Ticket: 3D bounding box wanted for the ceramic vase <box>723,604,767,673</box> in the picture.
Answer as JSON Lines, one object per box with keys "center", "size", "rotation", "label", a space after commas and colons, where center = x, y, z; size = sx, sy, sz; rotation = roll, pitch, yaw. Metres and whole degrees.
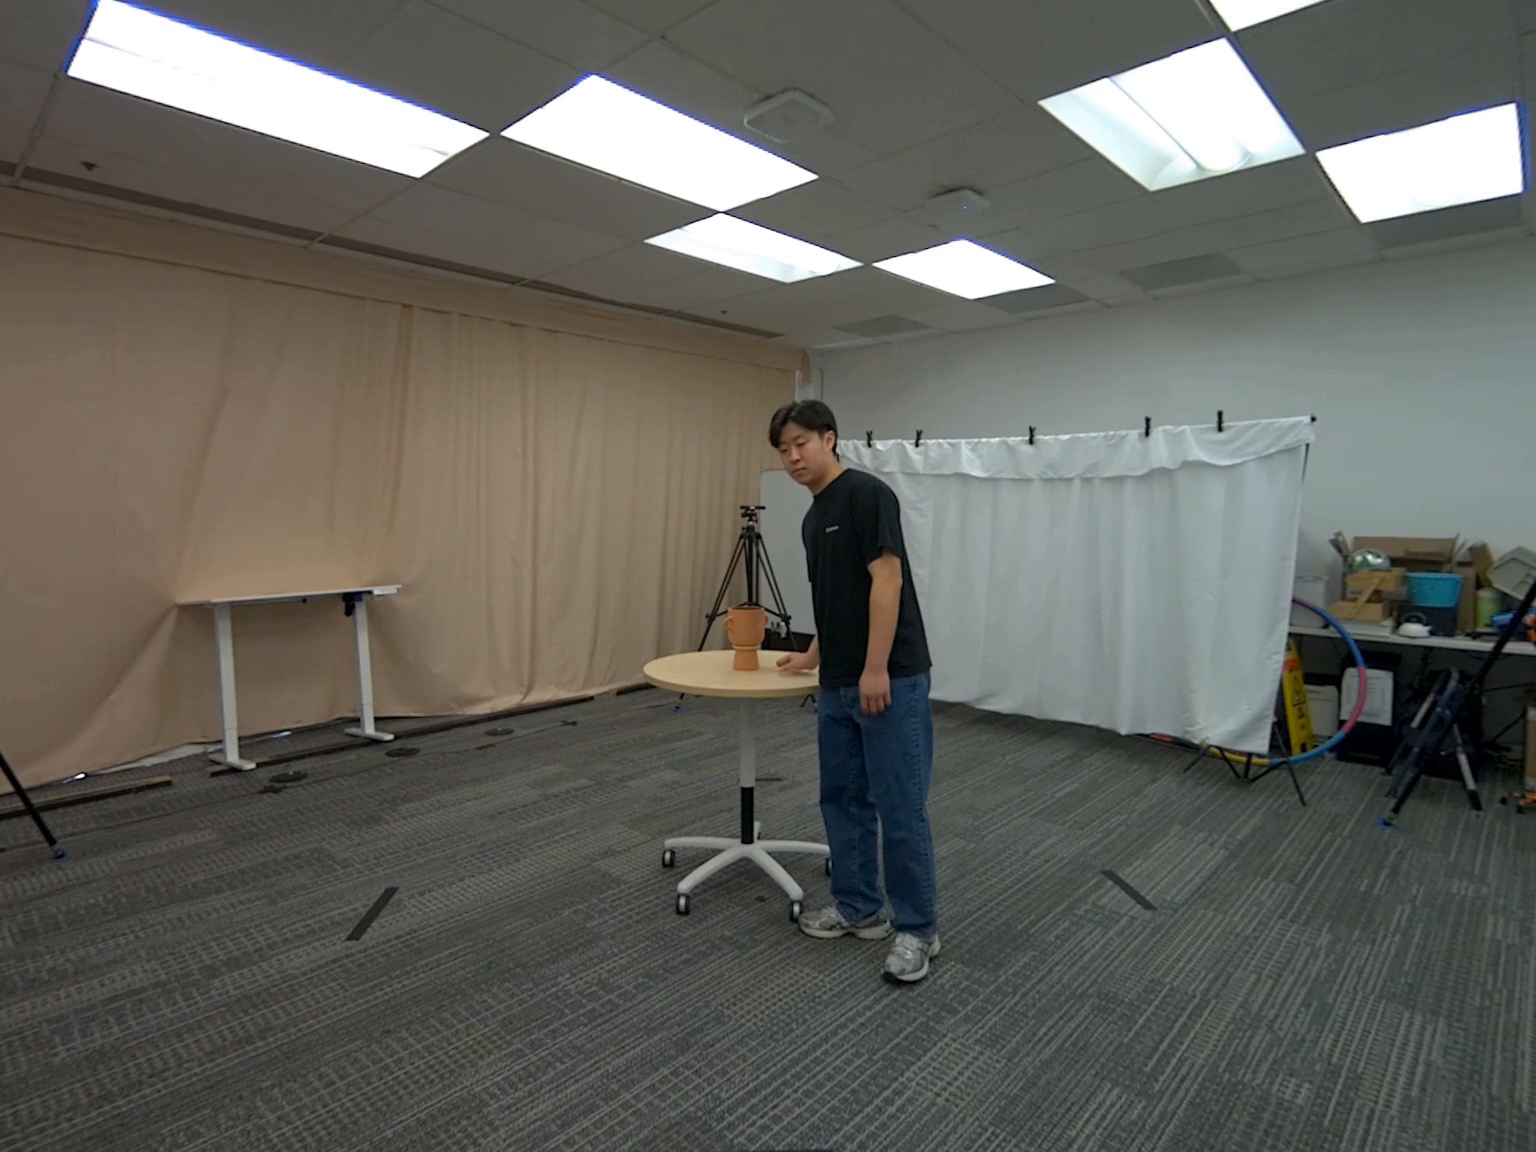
{"center": [-0.075, 0.233, 3.078], "size": [0.160, 0.219, 0.134], "rotation": [0, 4, 7], "label": "ceramic vase"}
